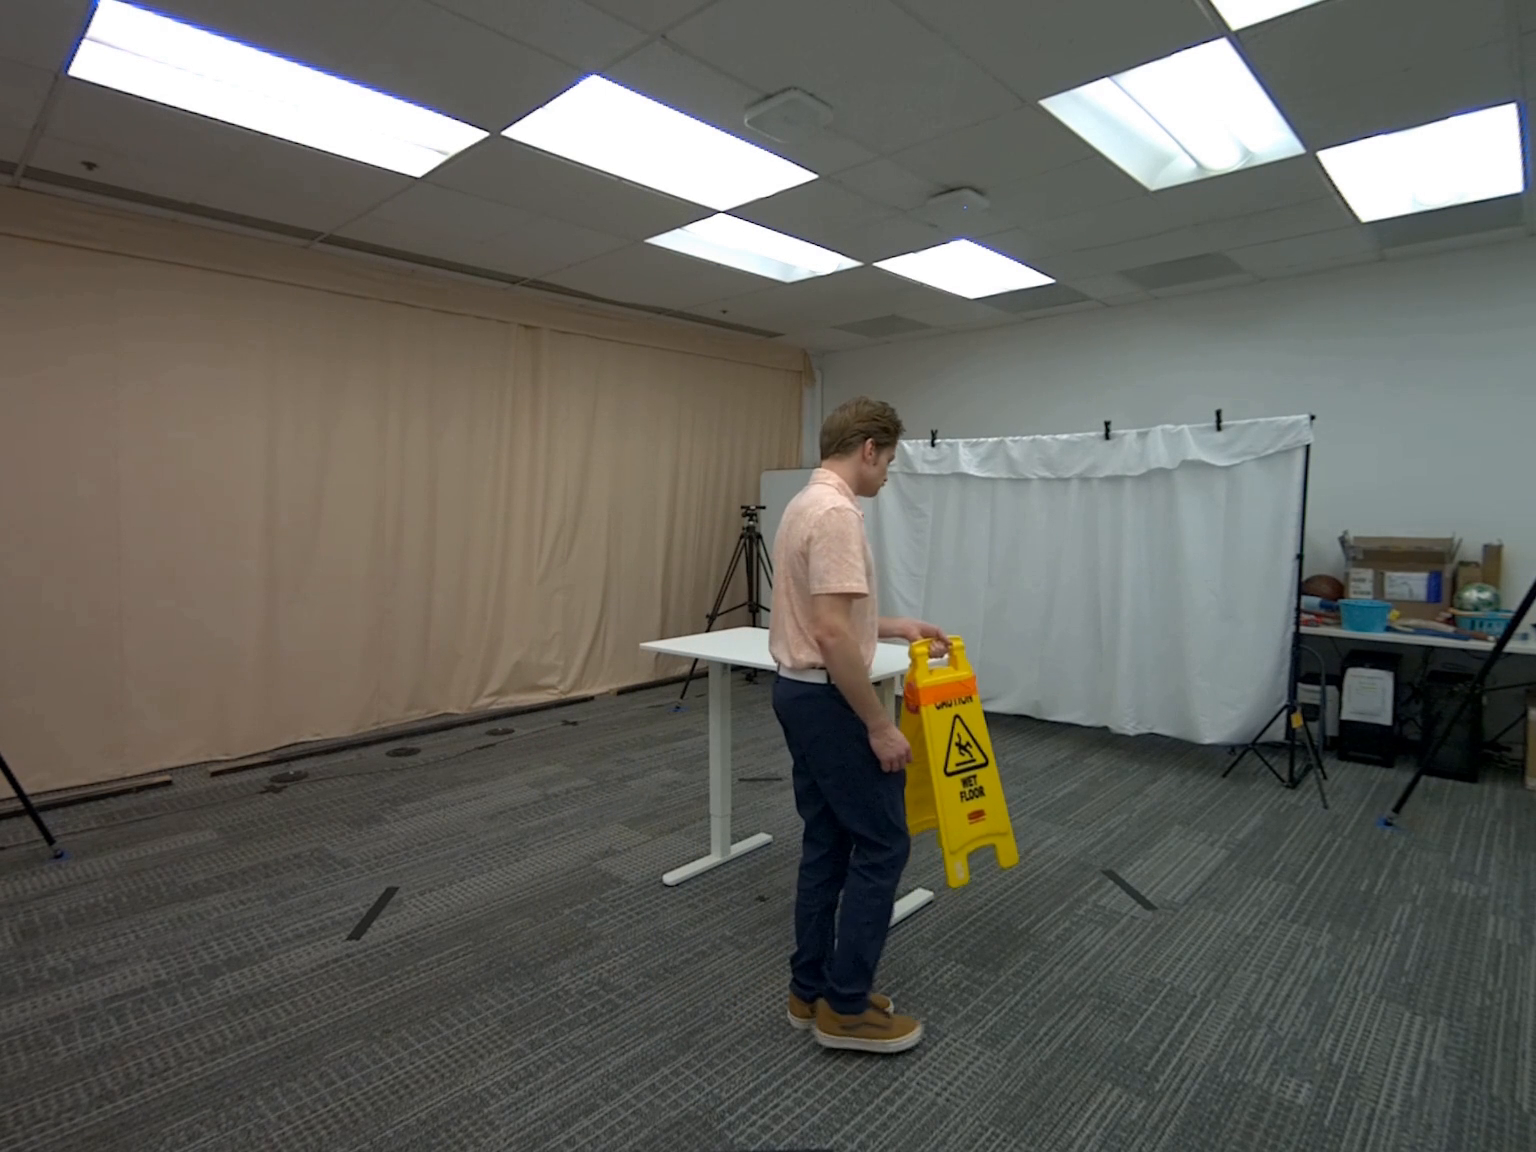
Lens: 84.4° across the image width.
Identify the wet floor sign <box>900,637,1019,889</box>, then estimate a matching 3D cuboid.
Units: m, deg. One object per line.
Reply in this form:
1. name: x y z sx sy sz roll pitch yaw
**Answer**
1. wet floor sign: 0.518 0.508 2.423 0.274 0.646 0.298 -4 1 -33
